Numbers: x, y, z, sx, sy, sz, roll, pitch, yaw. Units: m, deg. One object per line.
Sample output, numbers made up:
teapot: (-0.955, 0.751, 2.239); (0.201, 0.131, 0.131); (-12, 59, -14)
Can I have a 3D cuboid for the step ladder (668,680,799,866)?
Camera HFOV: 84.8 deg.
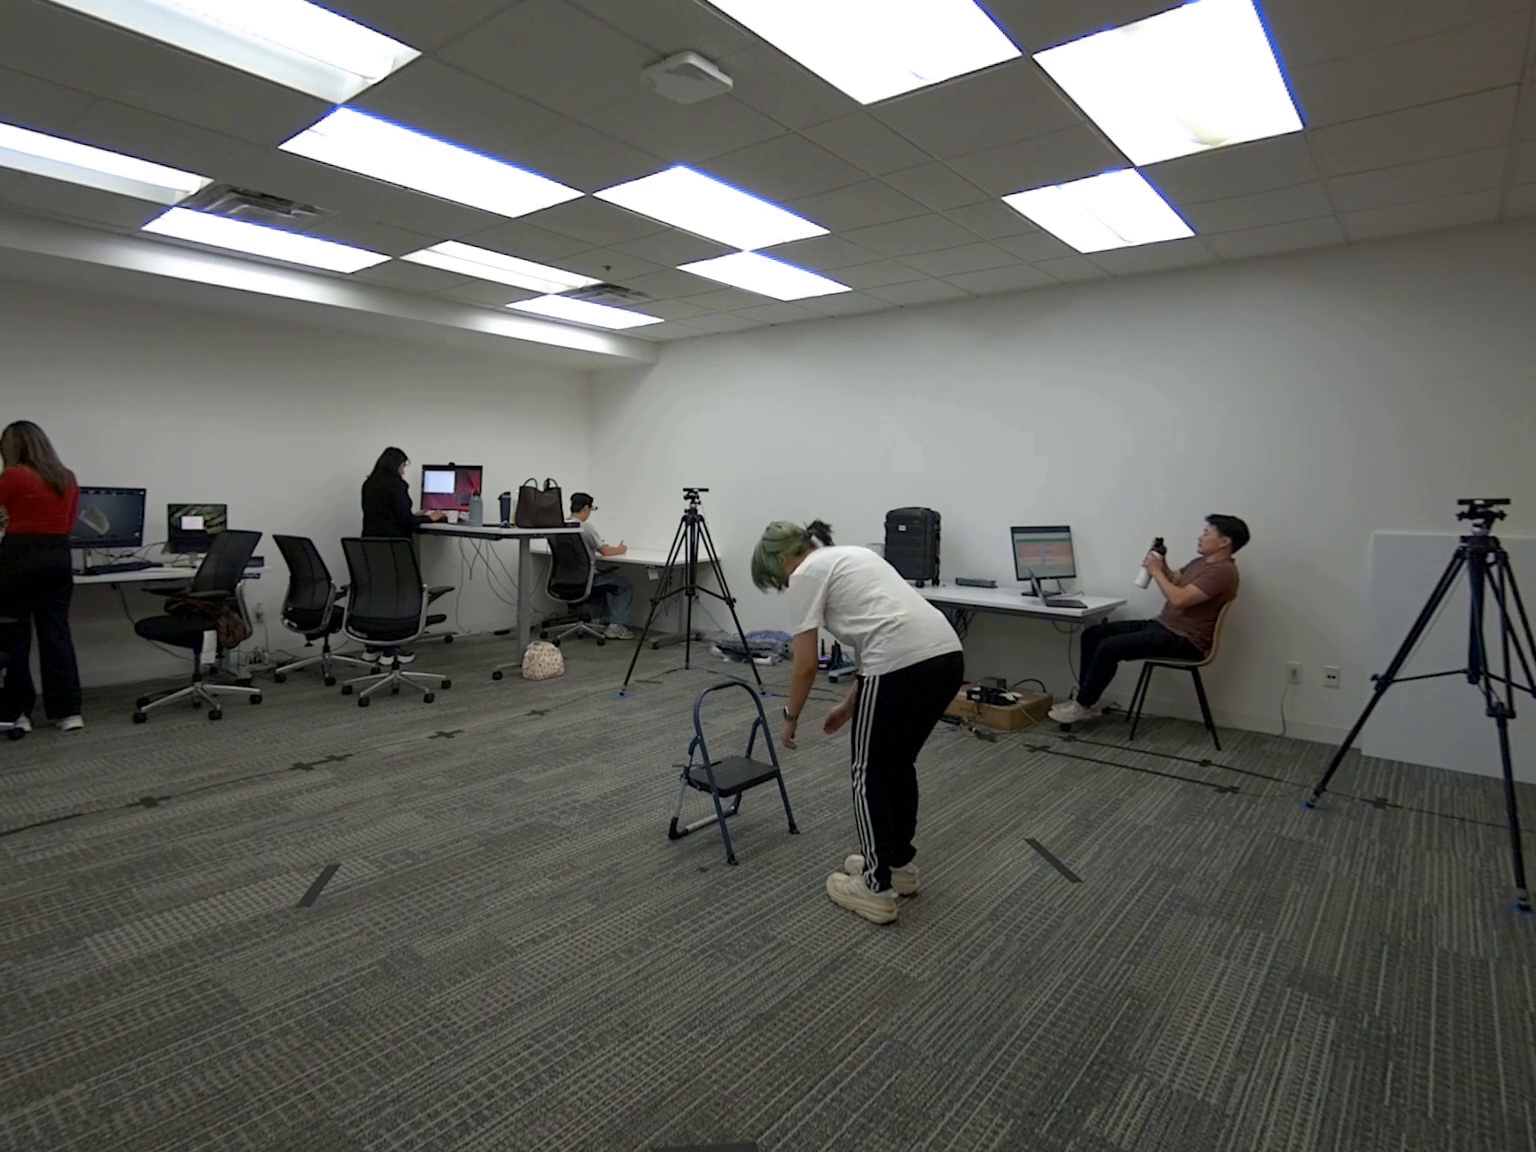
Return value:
step ladder: (-0.140, 0.738, 3.398); (0.361, 0.604, 0.418); (4, 4, 38)
